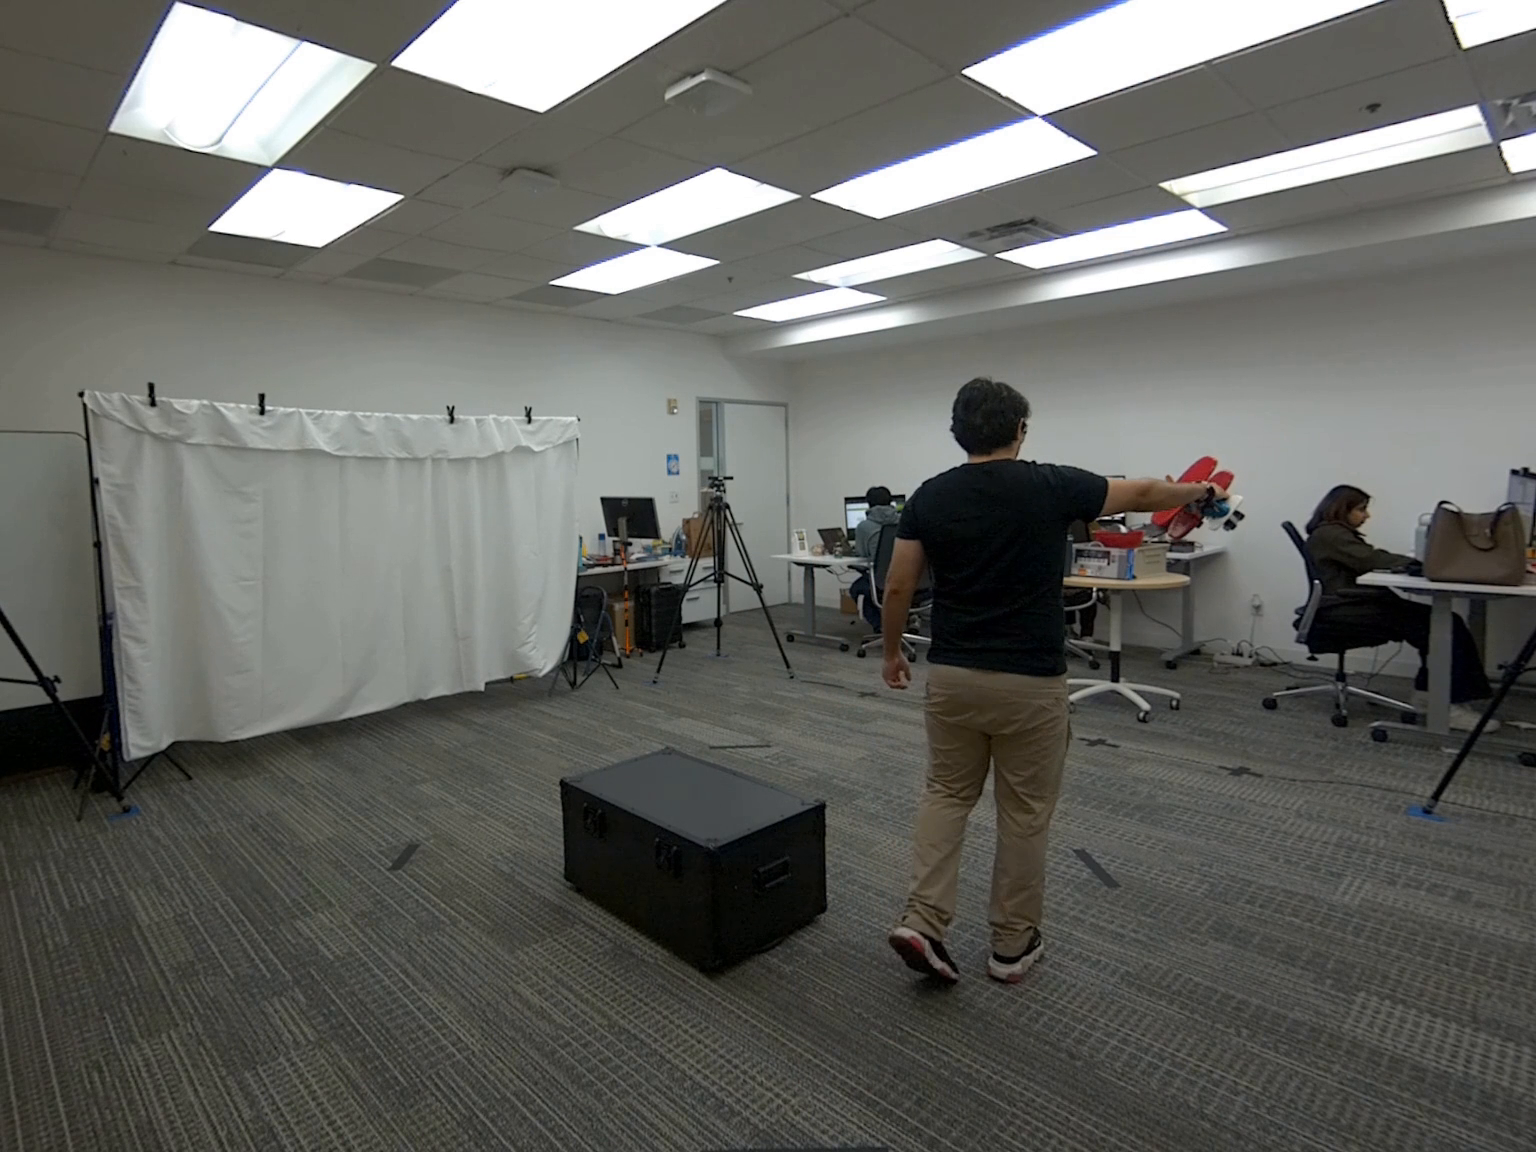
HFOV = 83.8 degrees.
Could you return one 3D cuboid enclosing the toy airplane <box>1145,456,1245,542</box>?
[{"bbox_3d":[1.334,-0.232,2.567,0.156,0.252,0.259,36,-18,-4],"label":"toy airplane"}]
